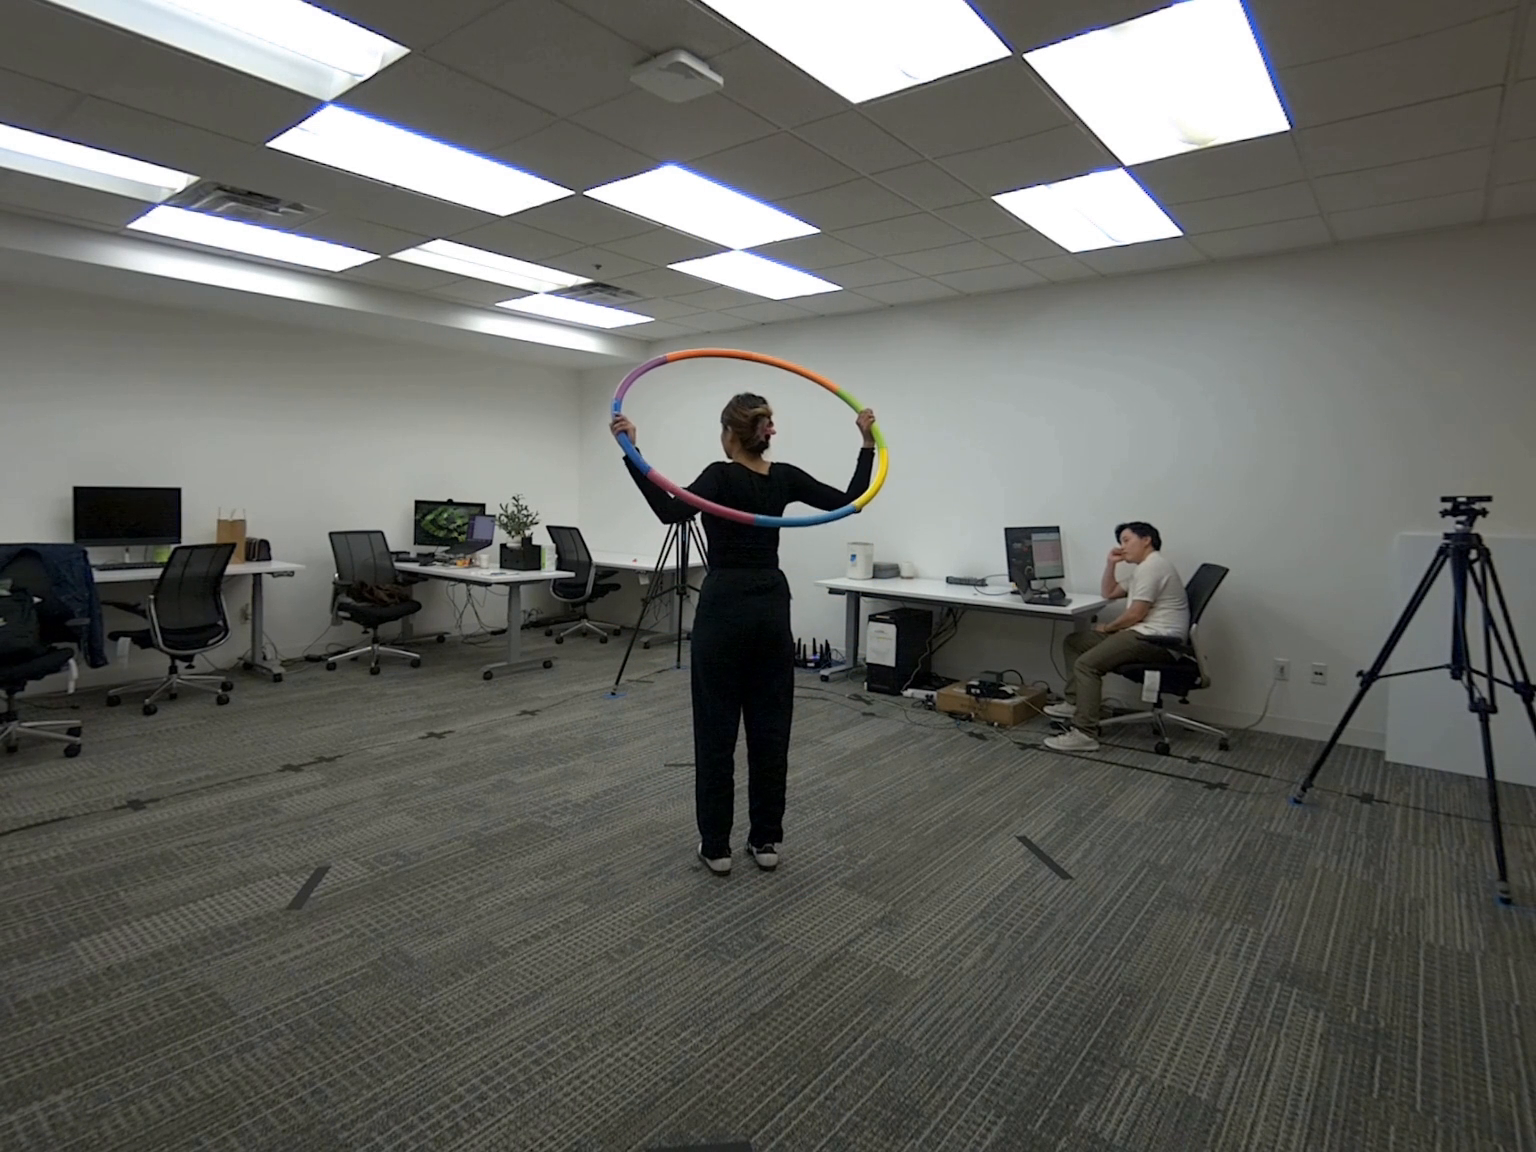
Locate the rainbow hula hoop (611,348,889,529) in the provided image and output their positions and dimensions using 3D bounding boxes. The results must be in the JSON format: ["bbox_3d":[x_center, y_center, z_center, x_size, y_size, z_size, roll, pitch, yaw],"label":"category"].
[{"bbox_3d":[-0.058,-0.516,2.995,0.968,0.035,1.008,8,44,-9],"label":"rainbow hula hoop"}]
